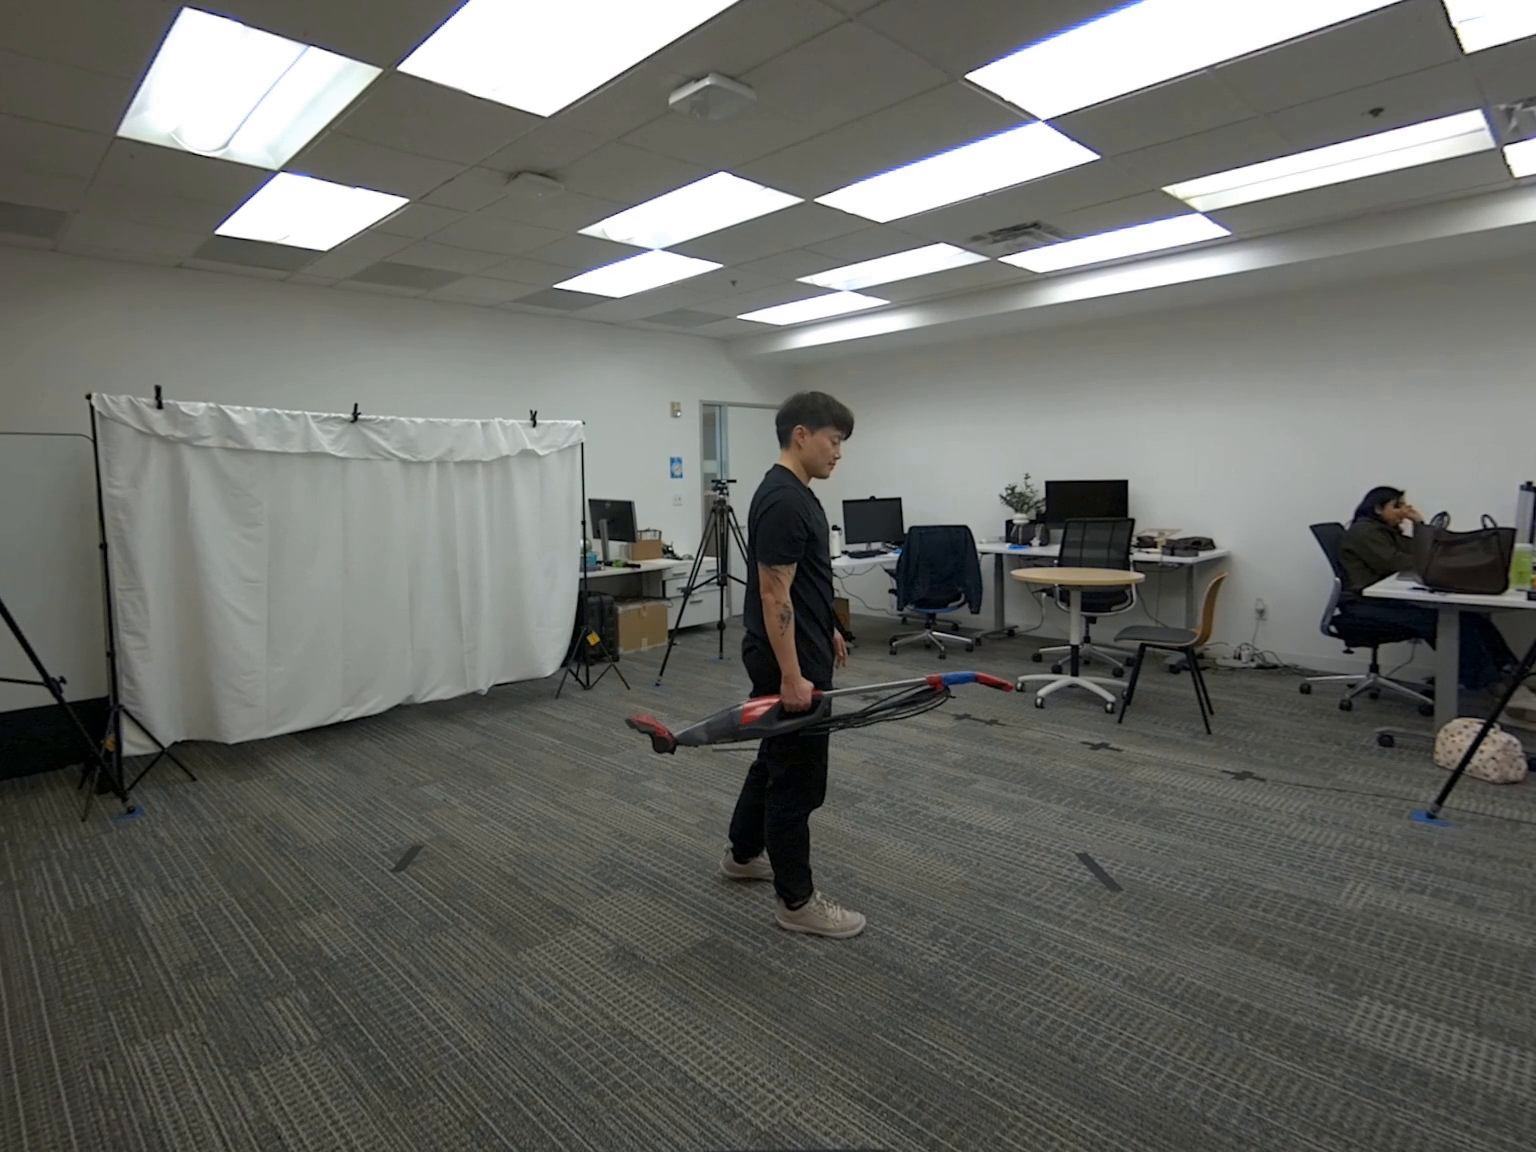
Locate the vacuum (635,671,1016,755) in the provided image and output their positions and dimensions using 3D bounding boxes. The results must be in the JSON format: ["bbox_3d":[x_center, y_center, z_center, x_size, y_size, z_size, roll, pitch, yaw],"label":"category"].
[{"bbox_3d":[0.183,0.384,2.492,1.052,0.145,0.249,-10,-9,3],"label":"vacuum"}]
